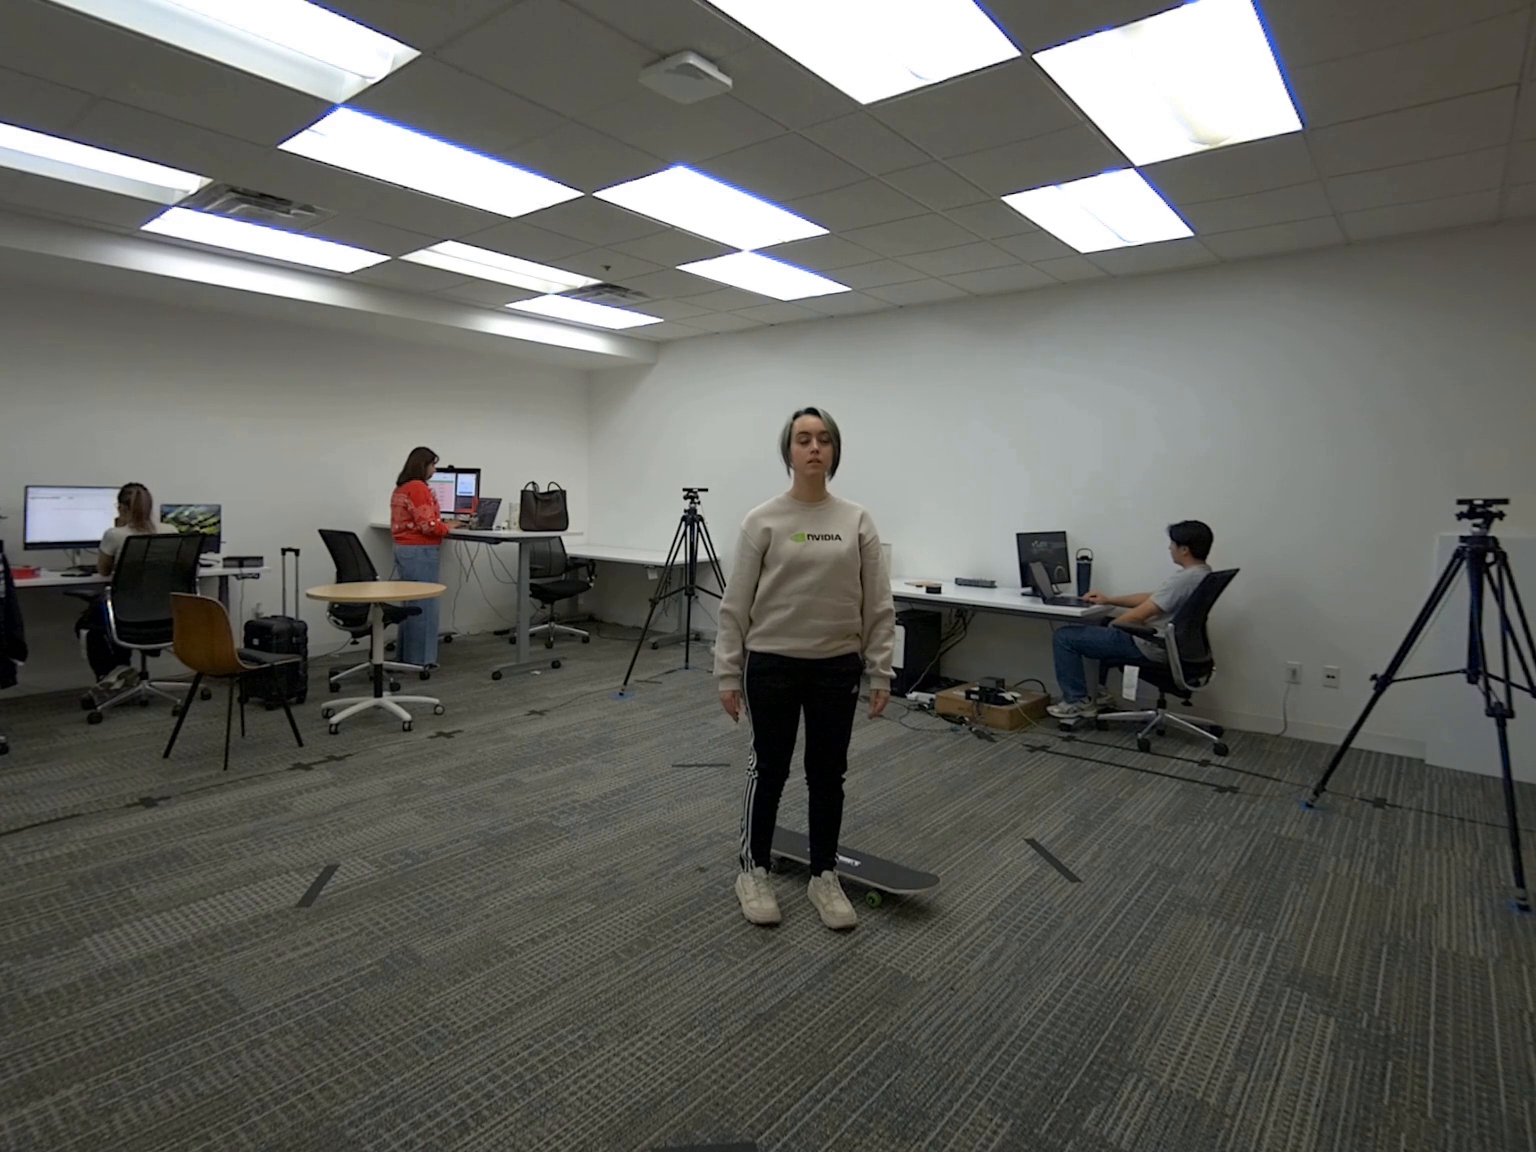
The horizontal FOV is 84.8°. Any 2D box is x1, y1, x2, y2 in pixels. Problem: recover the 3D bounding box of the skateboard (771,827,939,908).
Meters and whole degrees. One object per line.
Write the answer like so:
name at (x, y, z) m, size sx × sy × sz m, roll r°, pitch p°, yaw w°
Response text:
skateboard at (0.228, 1.029, 3.035) m, size 0.811 × 0.110 × 0.188 m, roll 6°, pitch 7°, yaw 36°
